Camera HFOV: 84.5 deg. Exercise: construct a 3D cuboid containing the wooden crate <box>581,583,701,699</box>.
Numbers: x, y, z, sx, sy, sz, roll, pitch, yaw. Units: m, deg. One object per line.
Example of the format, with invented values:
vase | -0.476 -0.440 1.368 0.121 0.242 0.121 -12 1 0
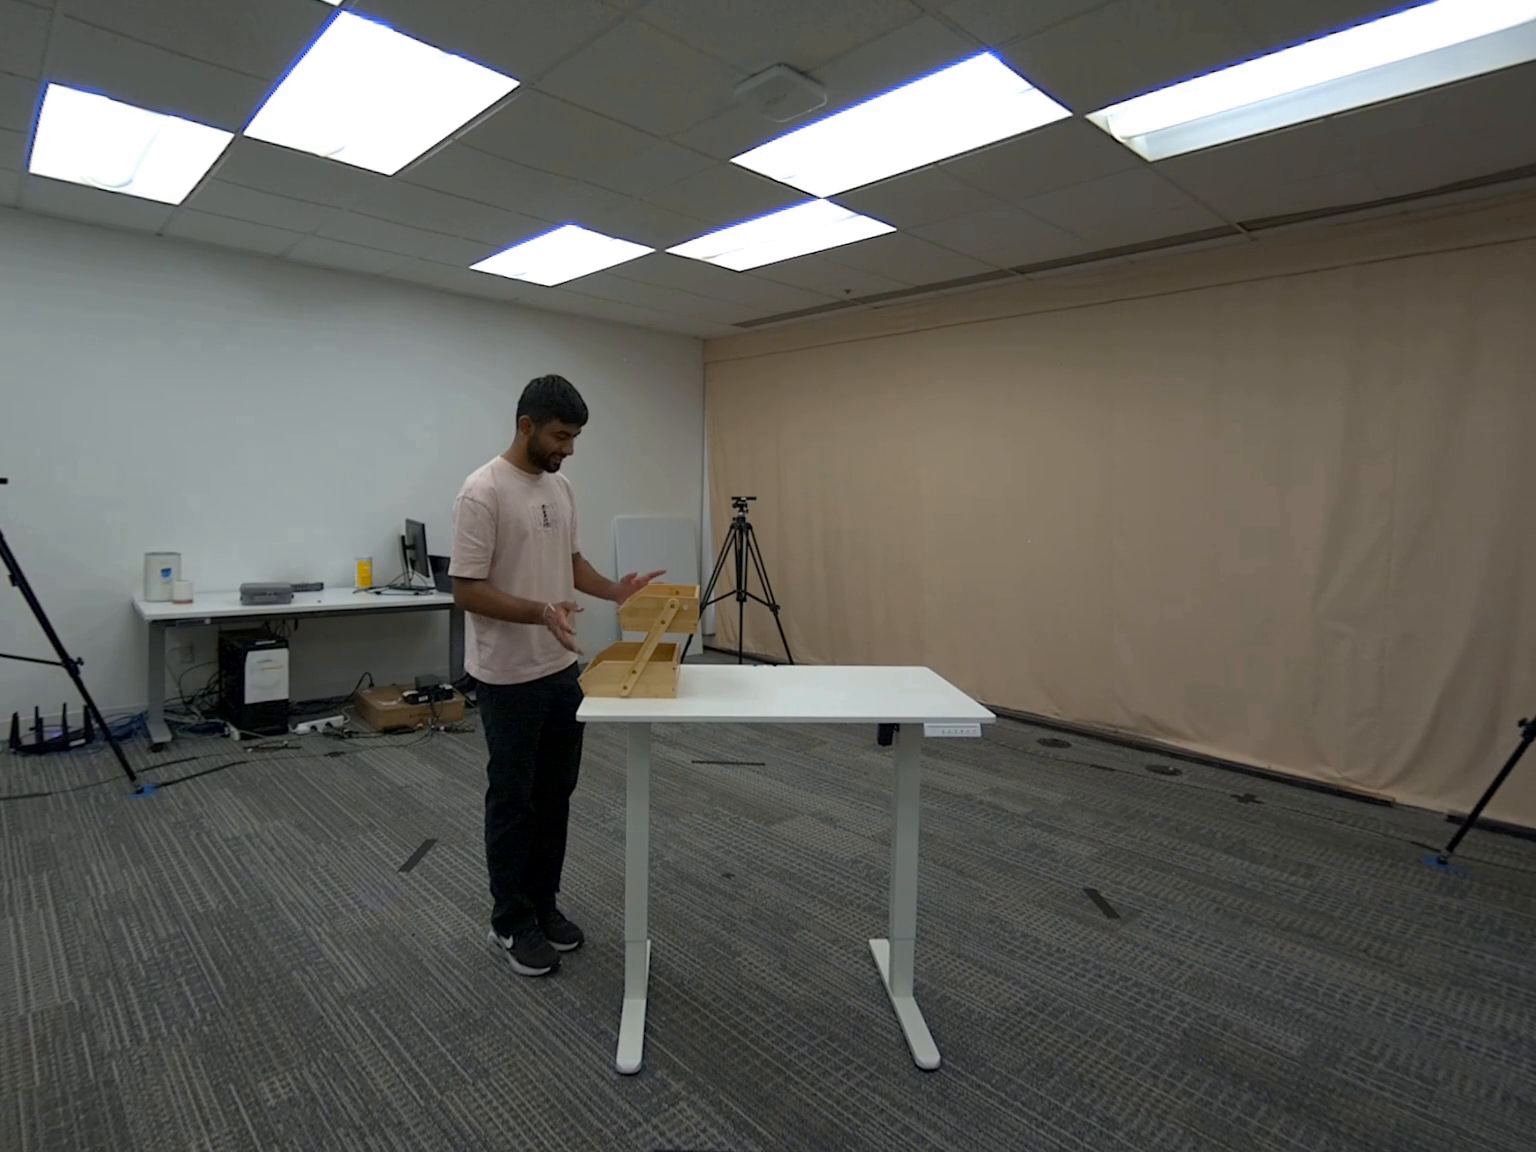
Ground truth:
wooden crate | -0.353 0.171 2.261 0.301 0.273 0.326 1 4 -4
